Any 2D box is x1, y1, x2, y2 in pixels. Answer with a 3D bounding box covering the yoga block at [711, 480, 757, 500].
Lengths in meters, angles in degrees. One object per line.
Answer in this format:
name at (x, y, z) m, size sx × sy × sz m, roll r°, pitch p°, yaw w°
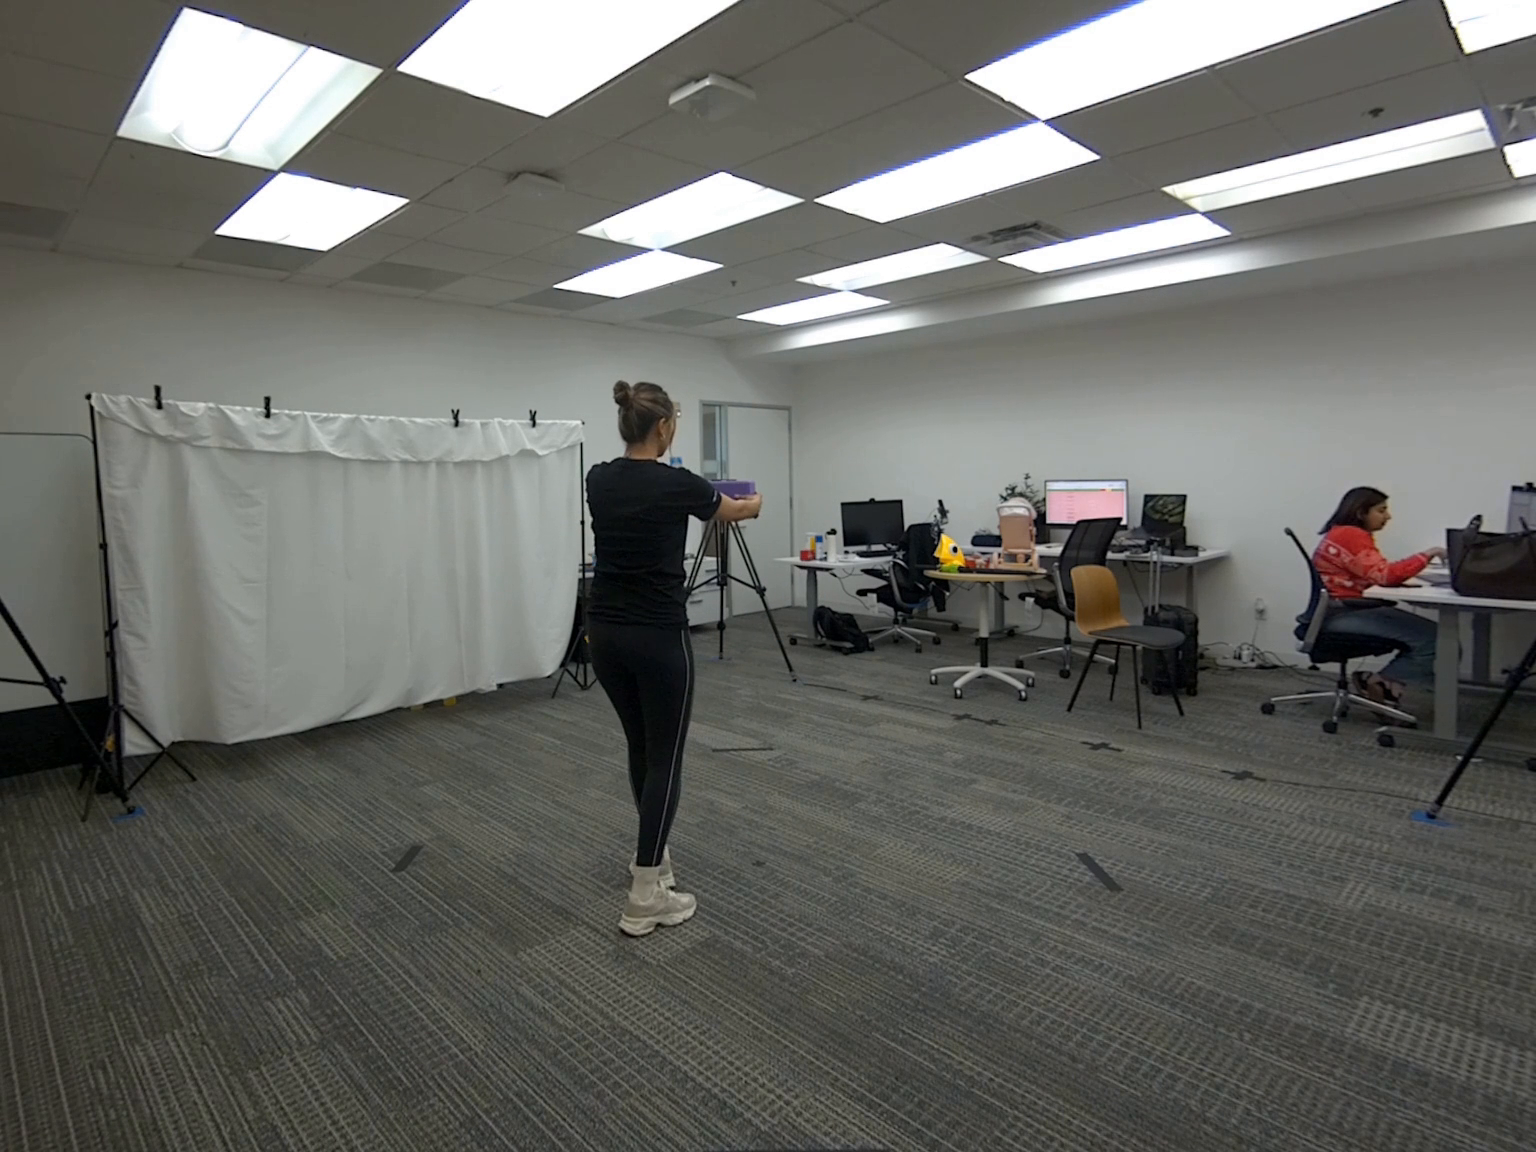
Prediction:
yoga block at (-0.182, -0.299, 3.379) m, size 0.234 × 0.148 × 0.075 m, roll 2°, pitch 9°, yaw 21°
